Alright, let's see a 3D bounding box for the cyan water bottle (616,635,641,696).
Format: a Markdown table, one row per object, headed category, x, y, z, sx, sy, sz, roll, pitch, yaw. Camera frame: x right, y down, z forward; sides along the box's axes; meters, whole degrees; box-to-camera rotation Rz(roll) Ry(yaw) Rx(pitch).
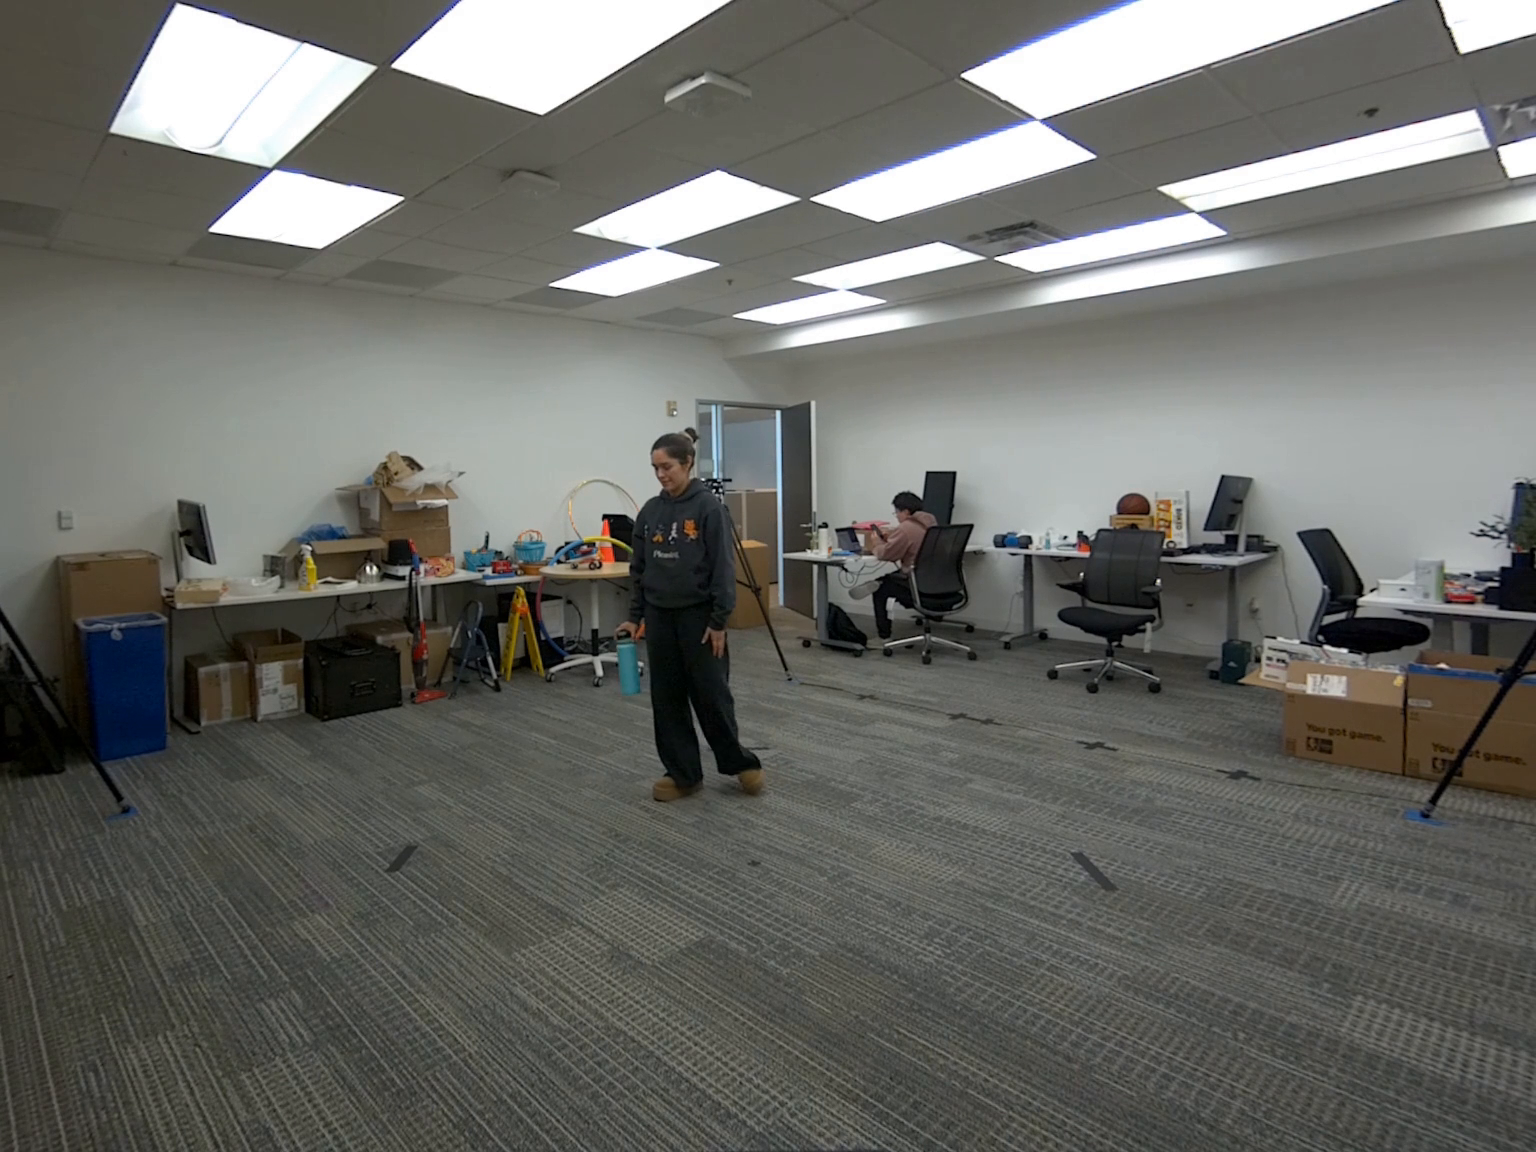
| category | x | y | z | sx | sy | sz | roll | pitch | yaw |
| --- | --- | --- | --- | --- | --- | --- | --- | --- | --- |
| cyan water bottle | -0.618 | 0.387 | 3.831 | 0.092 | 0.283 | 0.092 | -7 | 1 | -1 |
